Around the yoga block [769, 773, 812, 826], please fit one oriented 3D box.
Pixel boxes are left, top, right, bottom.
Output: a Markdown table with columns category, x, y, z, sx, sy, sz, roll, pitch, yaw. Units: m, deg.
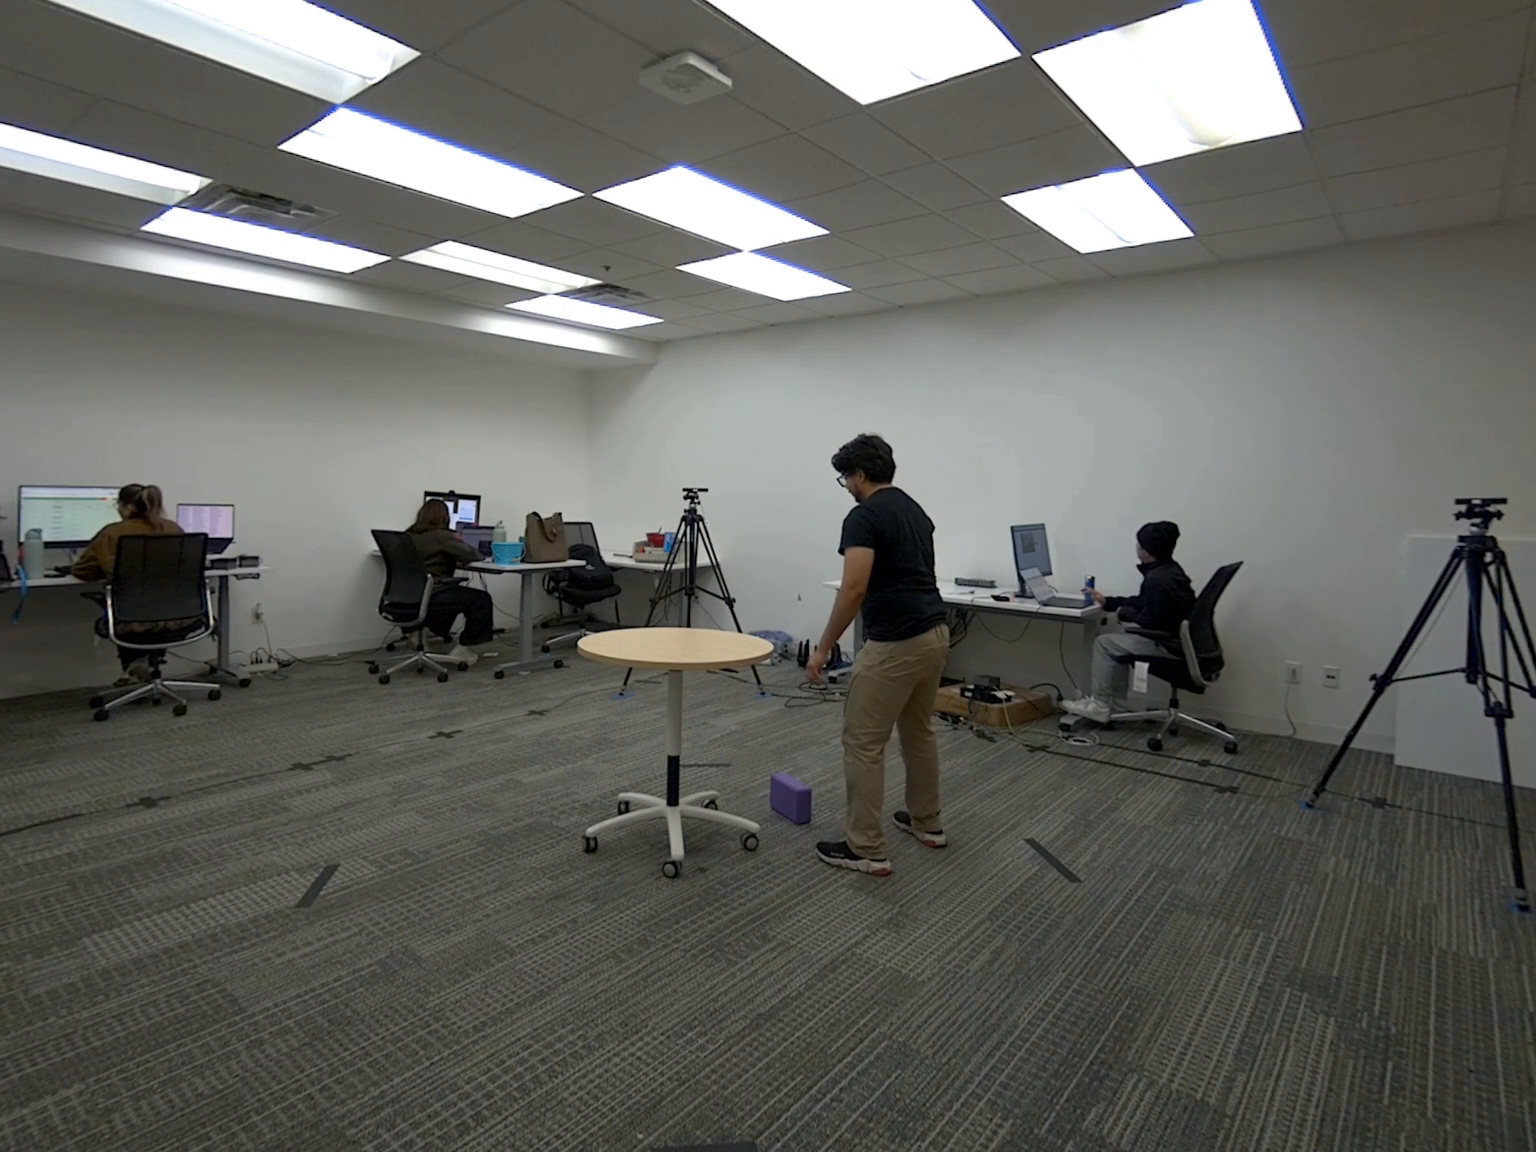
| category | x | y | z | sx | sy | sz | roll | pitch | yaw |
| --- | --- | --- | --- | --- | --- | --- | --- | --- | --- |
| yoga block | 0.087 | 0.947 | 3.652 | 0.074 | 0.148 | 0.236 | -2 | 6 | -30 |
